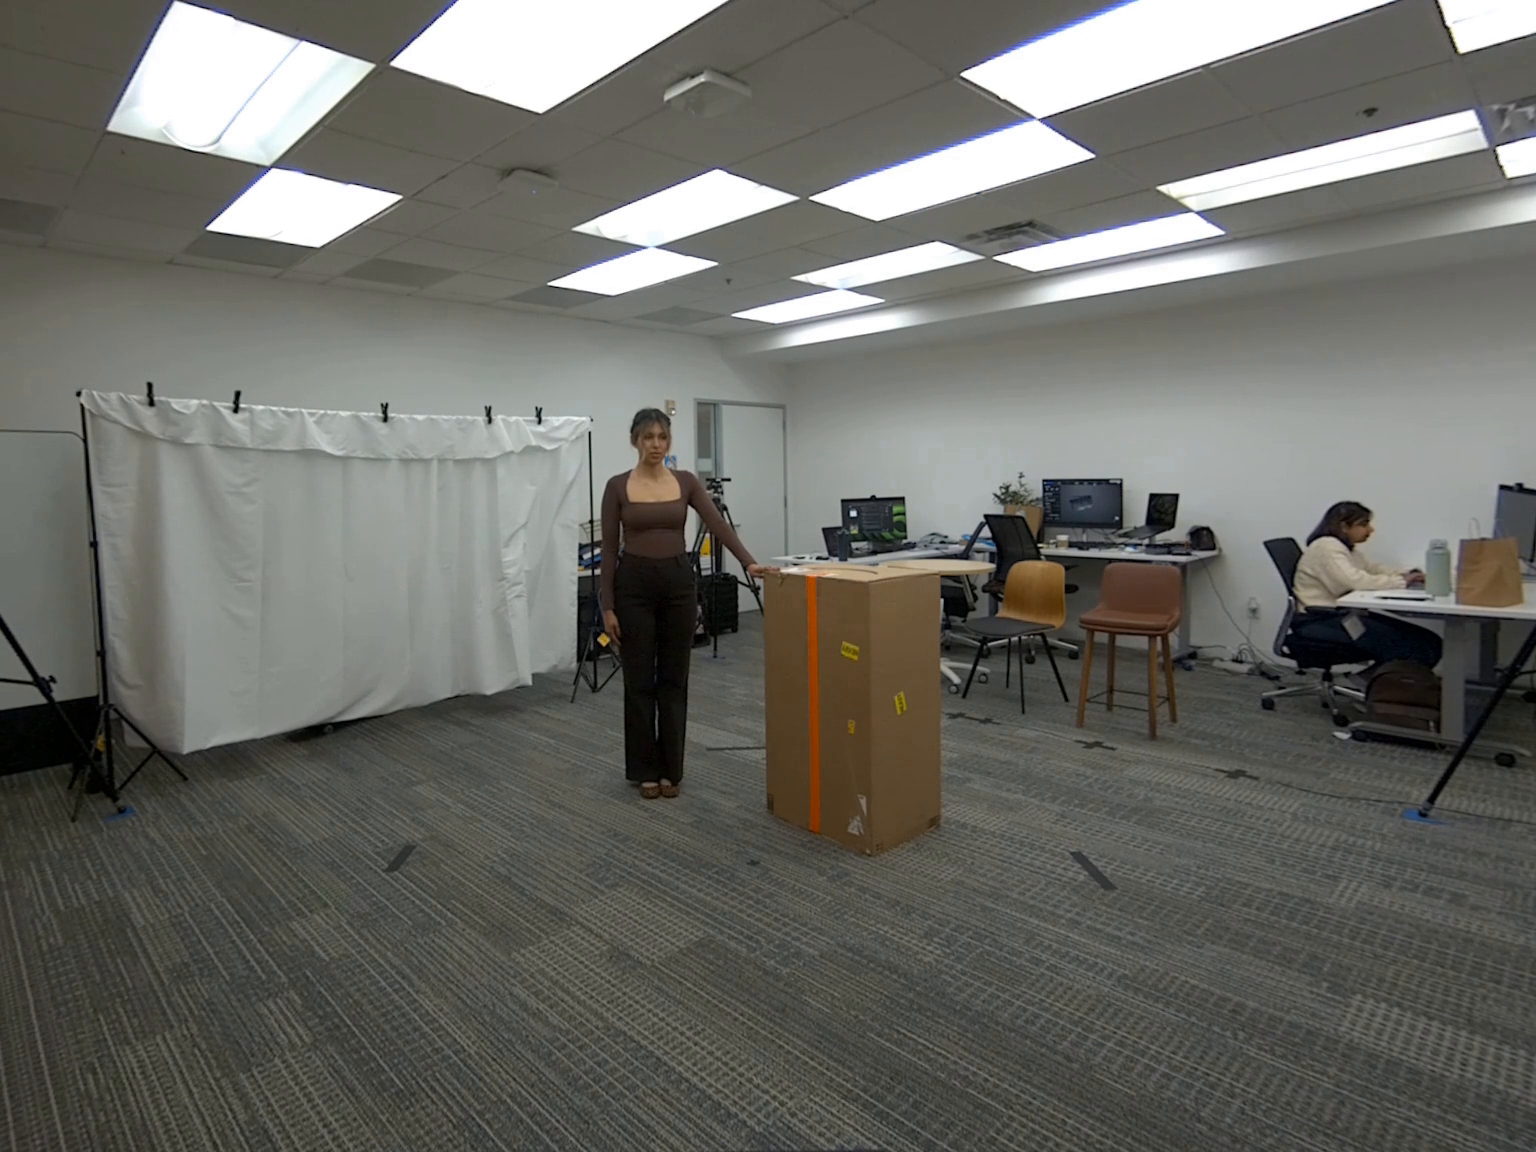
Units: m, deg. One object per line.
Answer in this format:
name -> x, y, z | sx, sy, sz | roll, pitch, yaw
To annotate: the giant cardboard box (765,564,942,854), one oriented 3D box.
giant cardboard box -> 0.335, 0.486, 3.456 | 0.435, 1.023, 0.602 | -5, 6, -39
